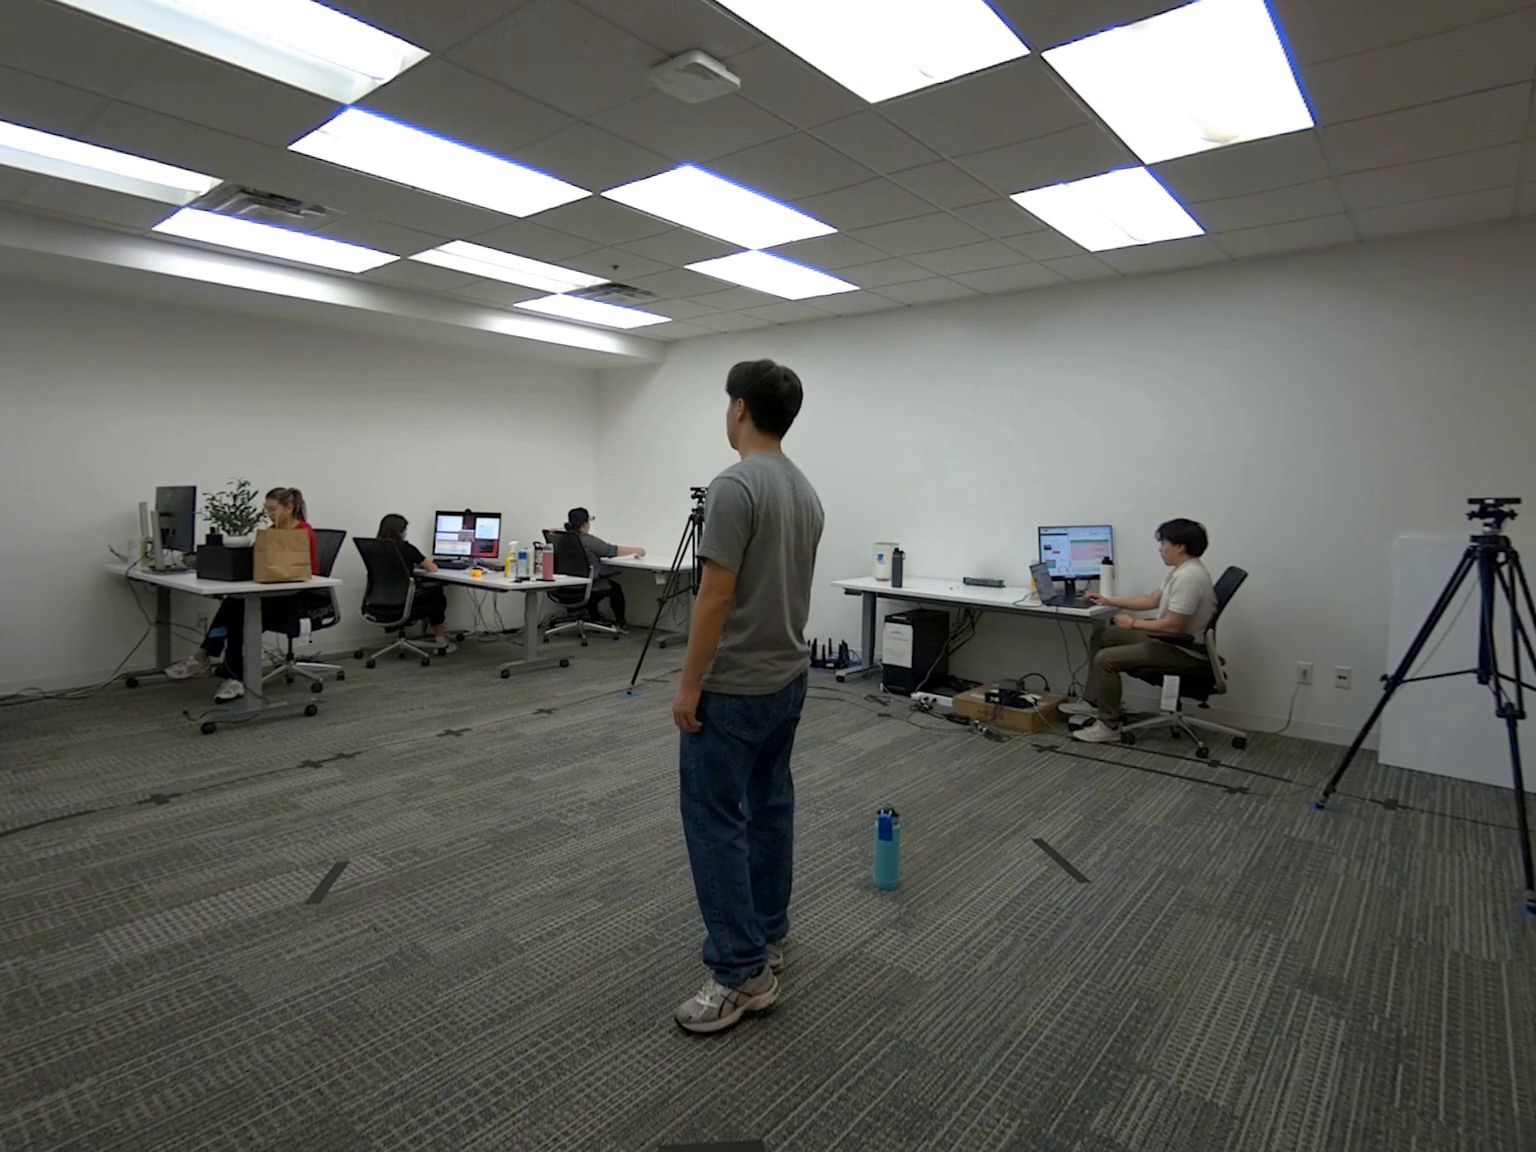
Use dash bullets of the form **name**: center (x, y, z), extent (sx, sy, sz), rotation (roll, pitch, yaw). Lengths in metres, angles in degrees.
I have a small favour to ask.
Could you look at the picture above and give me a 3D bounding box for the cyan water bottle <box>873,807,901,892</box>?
- **cyan water bottle**: center (0.416, 0.952, 3.006), extent (0.092, 0.282, 0.093), rotation (0, 5, -2)
